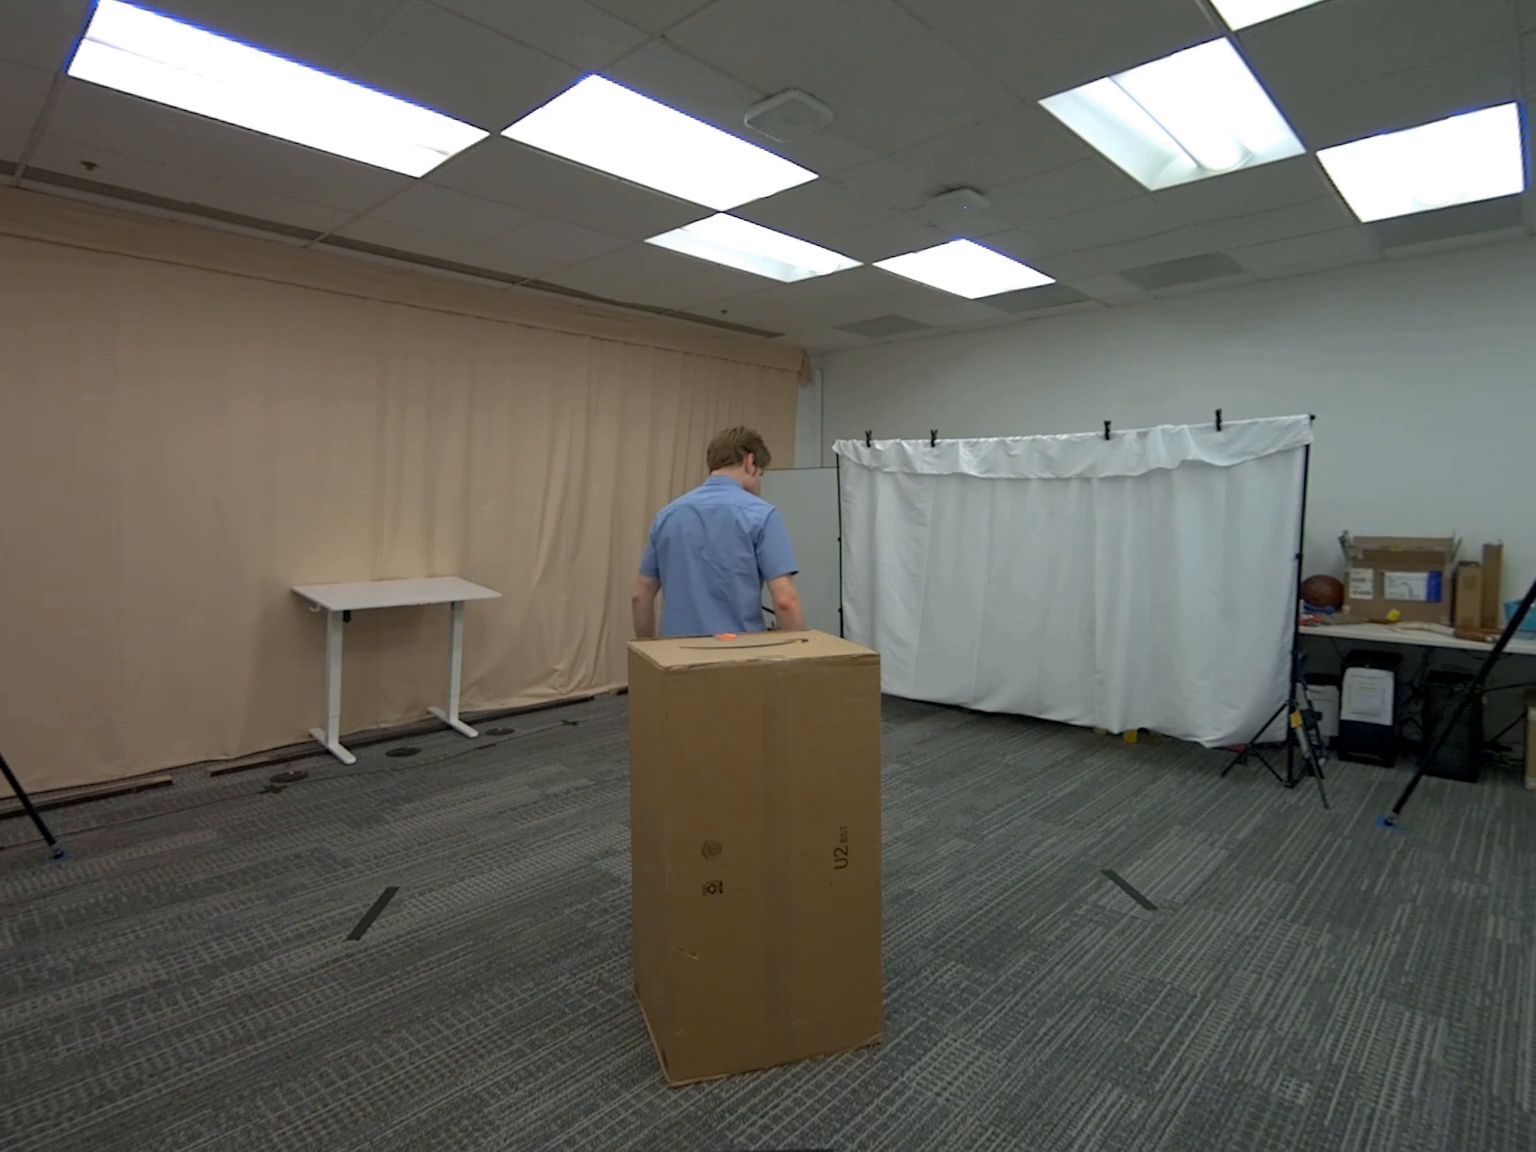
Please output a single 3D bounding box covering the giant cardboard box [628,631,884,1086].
[{"bbox_3d":[-0.043,0.700,2.267,0.573,1.024,0.456,-2,4,-20],"label":"giant cardboard box"}]
